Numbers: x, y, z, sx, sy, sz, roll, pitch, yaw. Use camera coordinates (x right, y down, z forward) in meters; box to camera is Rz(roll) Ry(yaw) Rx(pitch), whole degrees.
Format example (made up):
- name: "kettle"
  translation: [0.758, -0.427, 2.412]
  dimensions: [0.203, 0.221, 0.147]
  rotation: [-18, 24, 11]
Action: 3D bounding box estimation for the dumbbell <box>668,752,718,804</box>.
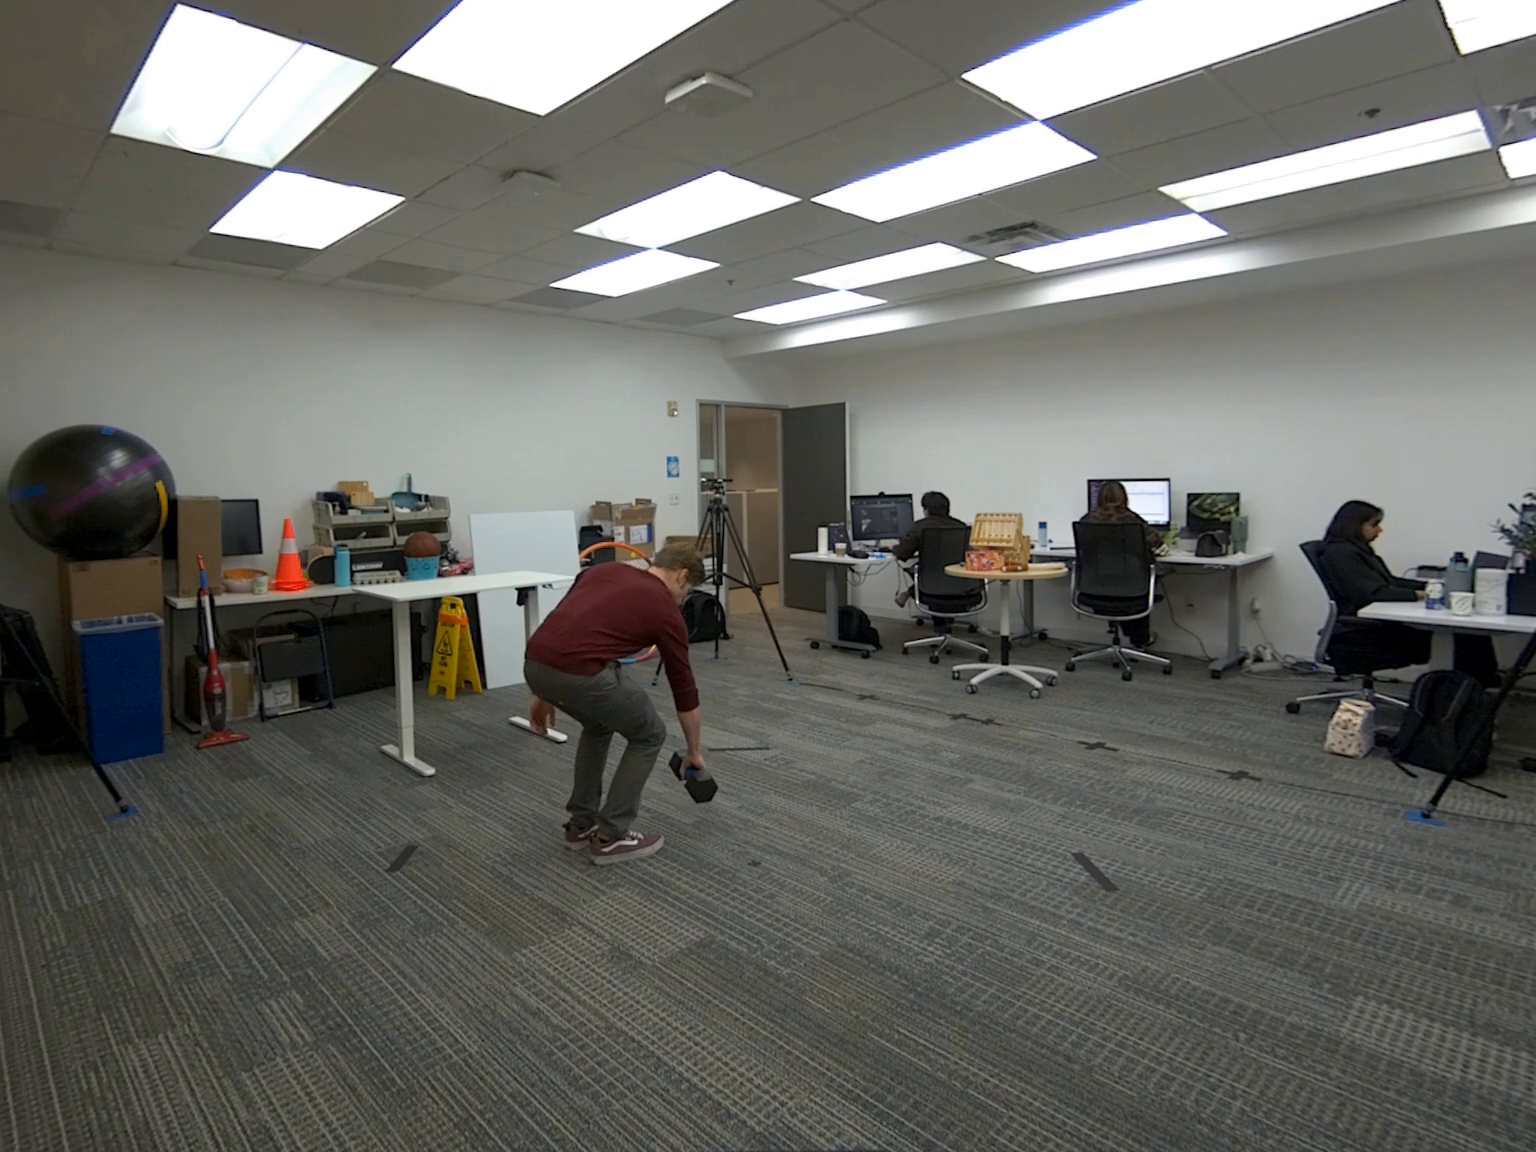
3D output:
- name: "dumbbell"
  translation: [-0.307, 0.795, 3.426]
  dimensions: [0.108, 0.120, 0.302]
  rotation: [-35, 23, -13]
